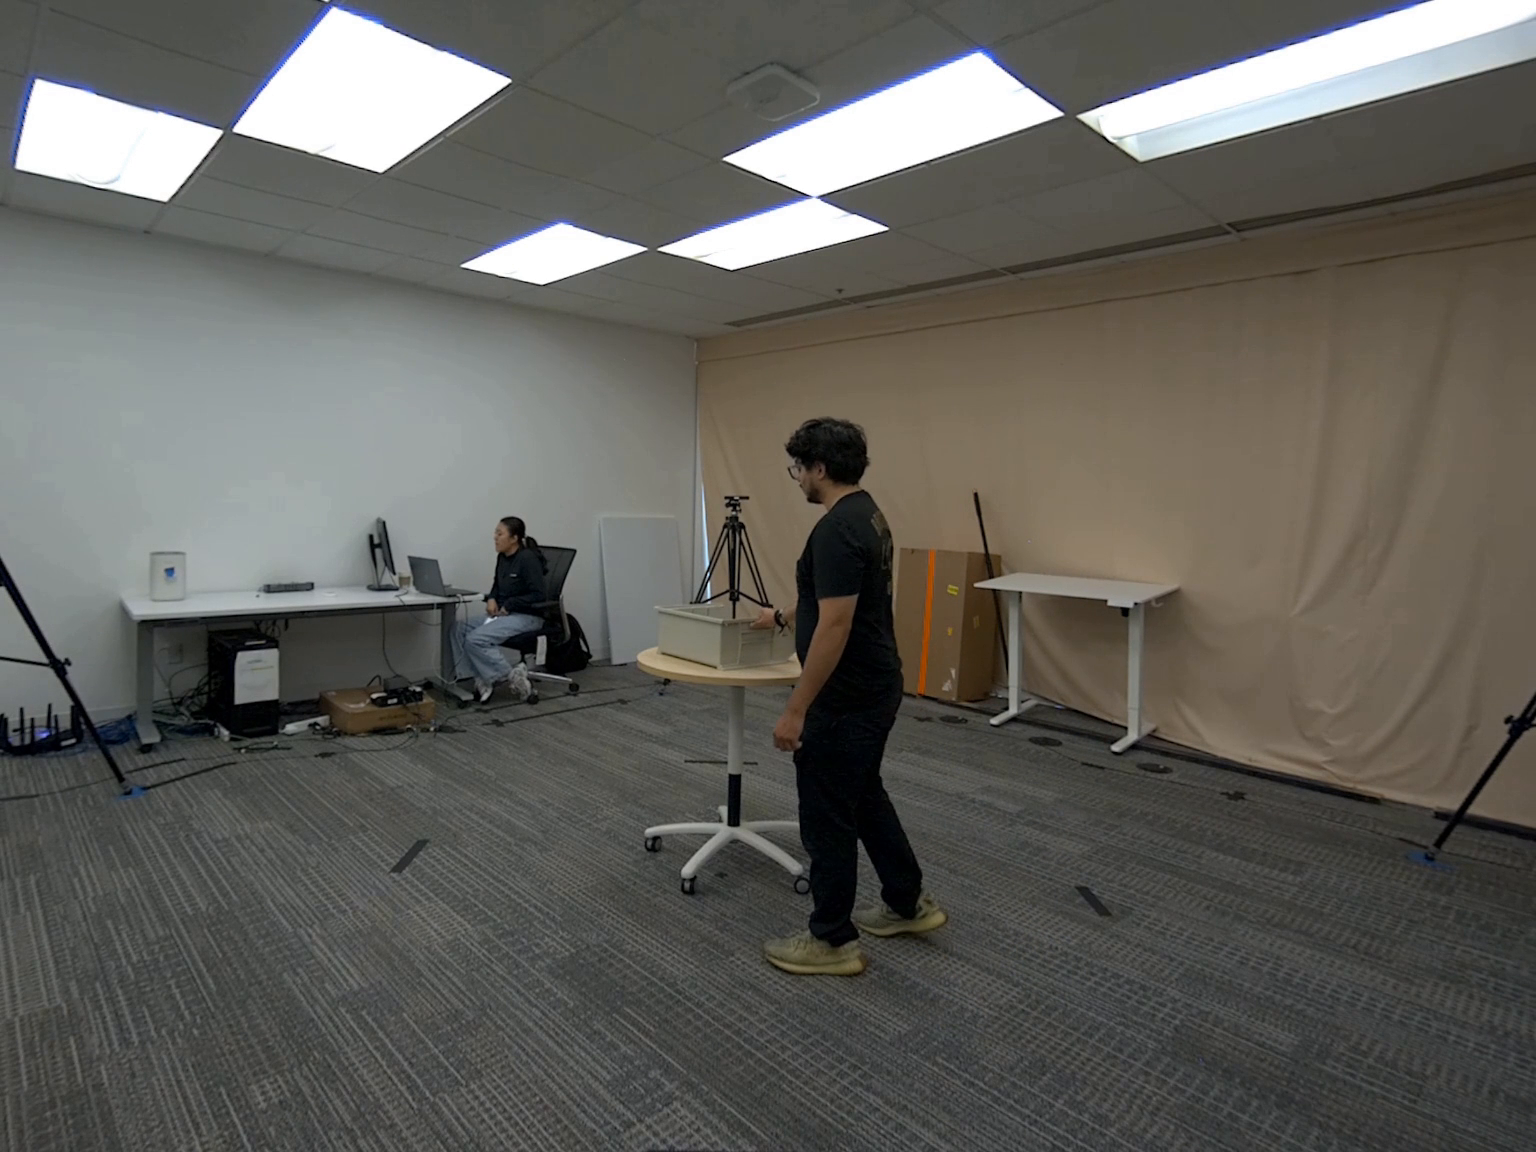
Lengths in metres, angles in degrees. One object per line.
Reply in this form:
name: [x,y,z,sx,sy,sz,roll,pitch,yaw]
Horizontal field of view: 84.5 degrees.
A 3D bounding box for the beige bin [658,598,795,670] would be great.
beige bin: [-0.169,0.220,3.193,0.369,0.188,0.433,-5,8,-40]
